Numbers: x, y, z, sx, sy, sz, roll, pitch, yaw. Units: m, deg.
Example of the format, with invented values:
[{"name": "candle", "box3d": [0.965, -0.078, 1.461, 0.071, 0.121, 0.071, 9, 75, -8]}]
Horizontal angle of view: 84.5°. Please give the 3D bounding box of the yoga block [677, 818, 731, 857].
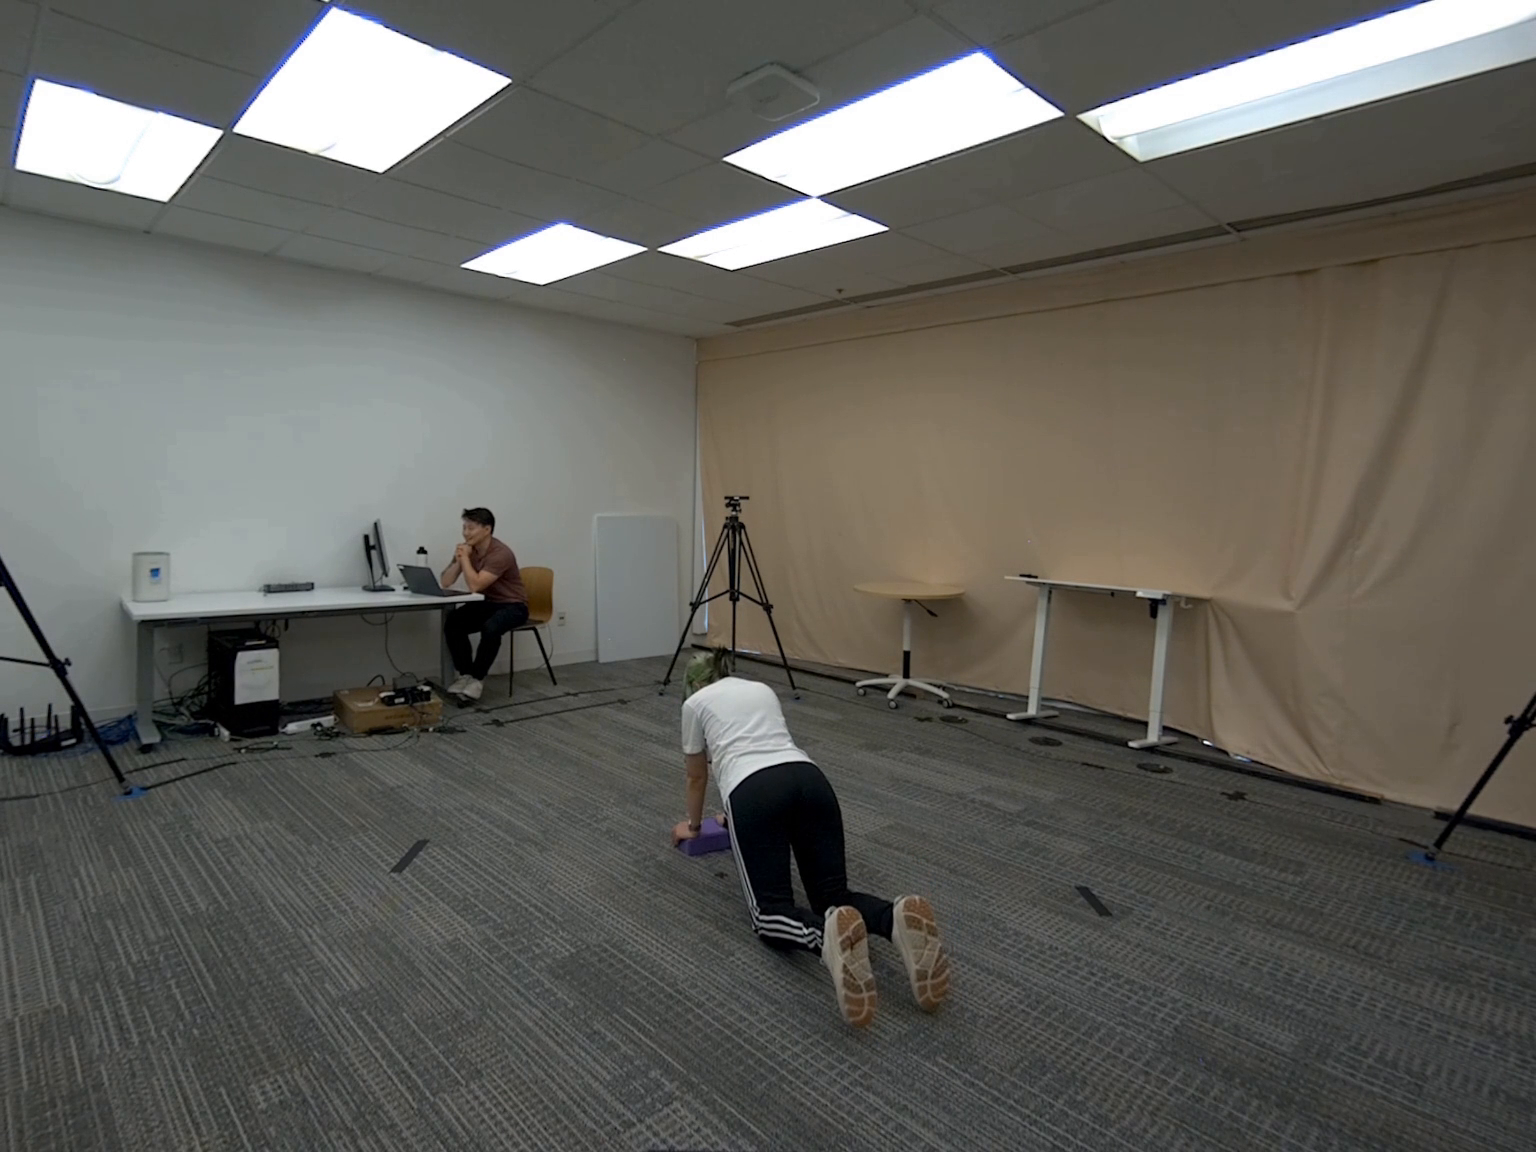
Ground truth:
[{"name": "yoga block", "box3d": [-0.253, 1.039, 3.363, 0.225, 0.076, 0.152, -3, 5, -30]}]
